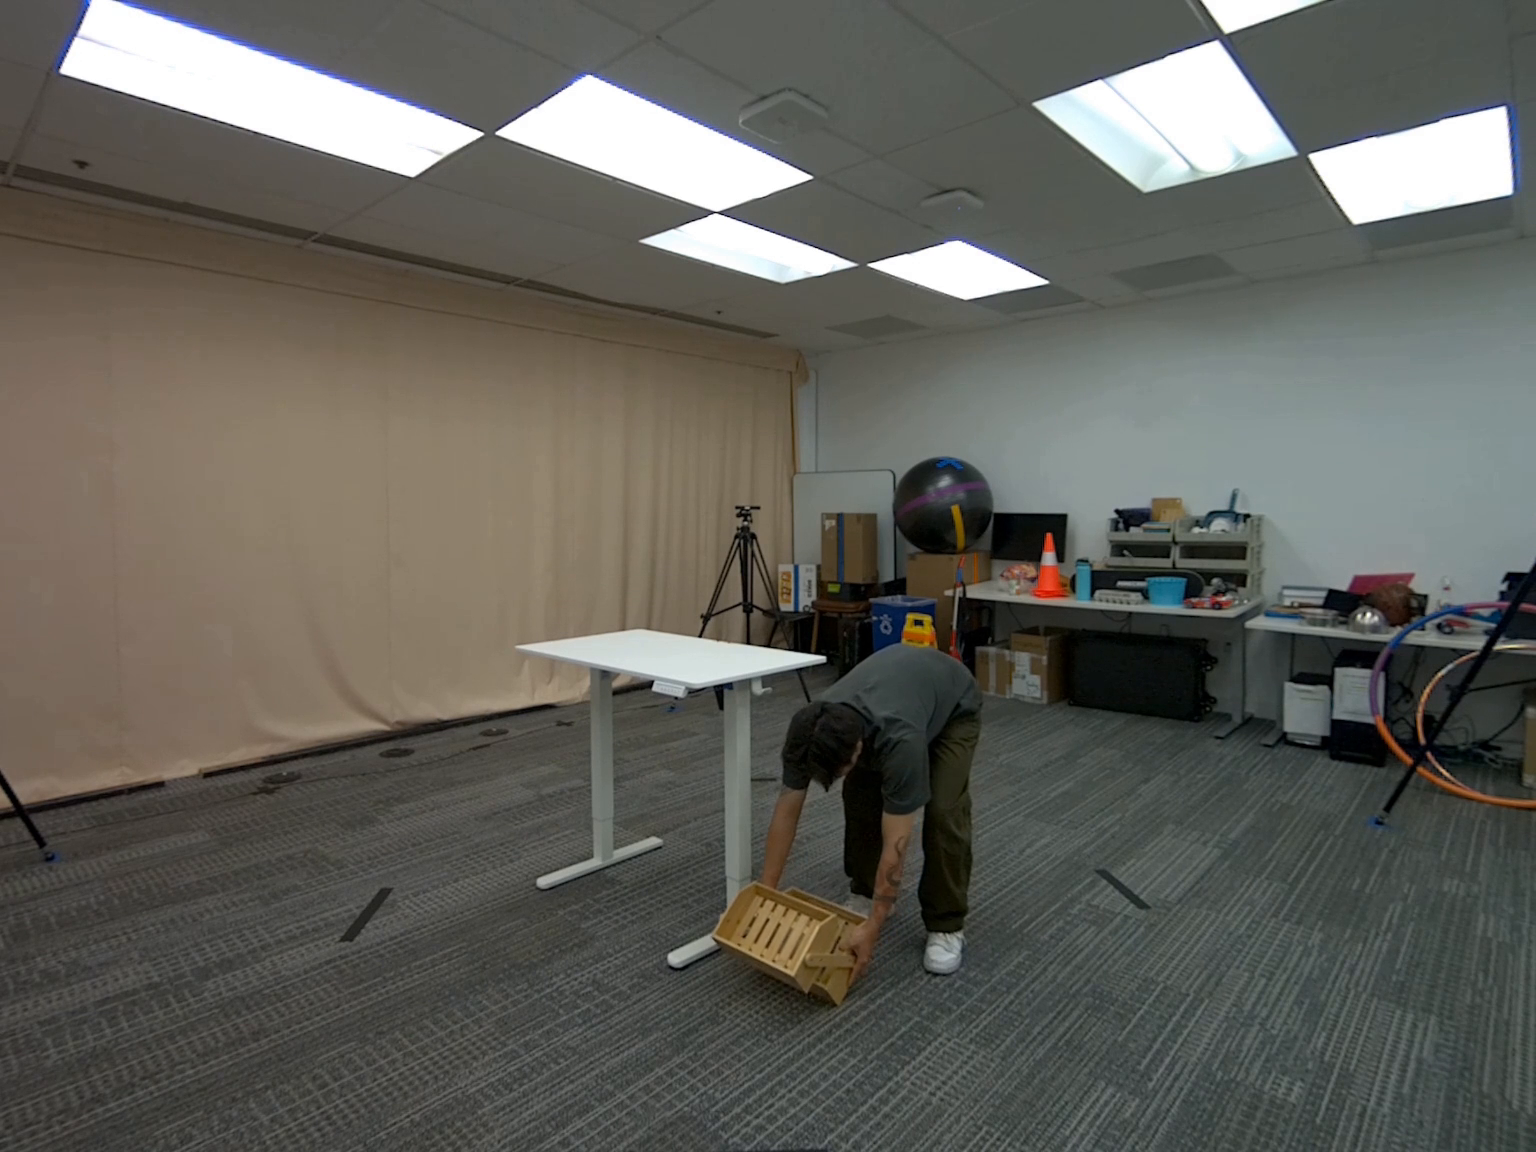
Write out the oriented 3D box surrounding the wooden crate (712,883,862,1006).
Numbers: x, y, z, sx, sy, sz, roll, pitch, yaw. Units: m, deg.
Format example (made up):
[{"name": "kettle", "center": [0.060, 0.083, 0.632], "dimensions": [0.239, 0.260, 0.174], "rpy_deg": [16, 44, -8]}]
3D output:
[{"name": "wooden crate", "center": [0.088, 1.031, 2.422], "dimensions": [0.335, 0.266, 0.301], "rpy_deg": [2, 44, 41]}]
